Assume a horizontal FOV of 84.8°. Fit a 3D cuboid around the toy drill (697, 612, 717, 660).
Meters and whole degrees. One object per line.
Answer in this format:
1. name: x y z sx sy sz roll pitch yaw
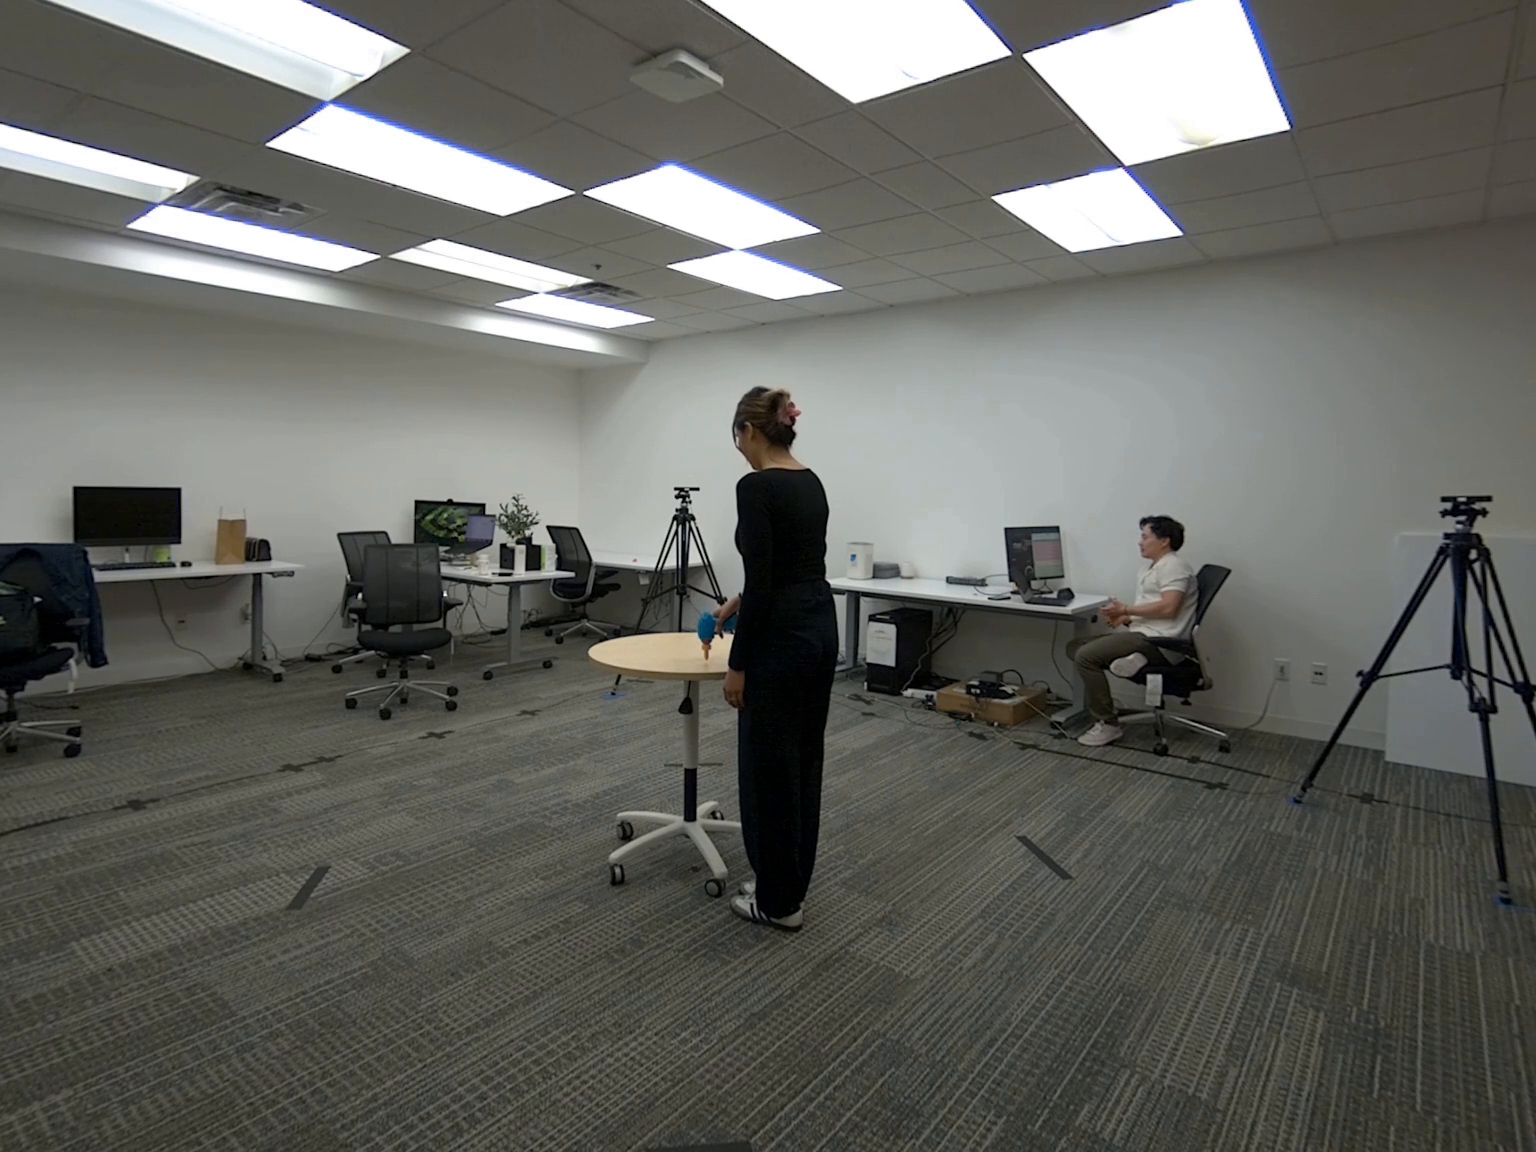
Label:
1. toy drill: -0.185 0.205 2.974 0.145 0.171 0.061 -2 -5 -7
